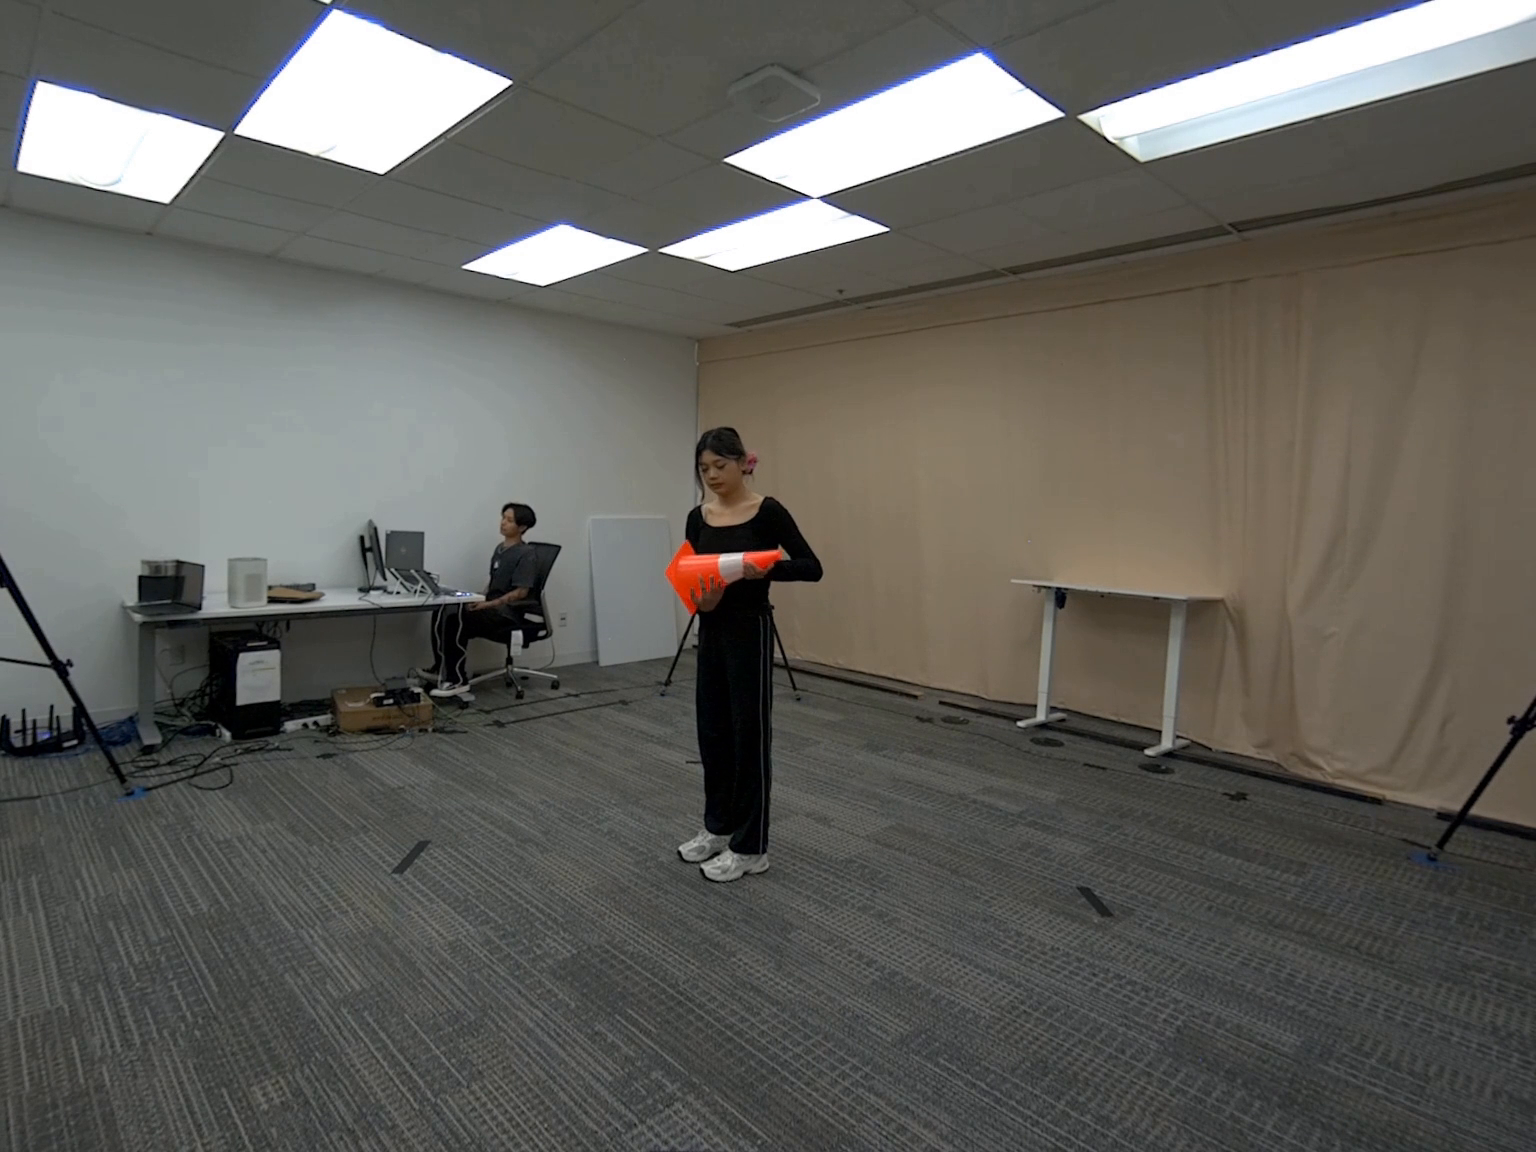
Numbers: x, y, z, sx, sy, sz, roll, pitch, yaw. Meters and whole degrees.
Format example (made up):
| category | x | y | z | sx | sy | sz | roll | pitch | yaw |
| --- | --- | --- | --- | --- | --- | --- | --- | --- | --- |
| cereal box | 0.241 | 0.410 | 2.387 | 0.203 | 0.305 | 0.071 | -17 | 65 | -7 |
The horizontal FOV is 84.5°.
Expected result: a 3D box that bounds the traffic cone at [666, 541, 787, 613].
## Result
| category | x | y | z | sx | sy | sz | roll | pitch | yaw |
| --- | --- | --- | --- | --- | --- | --- | --- | --- | --- |
| traffic cone | -0.129 | -0.029 | 2.876 | 0.390 | 0.198 | 0.207 | -13 | 31 | 31 |
